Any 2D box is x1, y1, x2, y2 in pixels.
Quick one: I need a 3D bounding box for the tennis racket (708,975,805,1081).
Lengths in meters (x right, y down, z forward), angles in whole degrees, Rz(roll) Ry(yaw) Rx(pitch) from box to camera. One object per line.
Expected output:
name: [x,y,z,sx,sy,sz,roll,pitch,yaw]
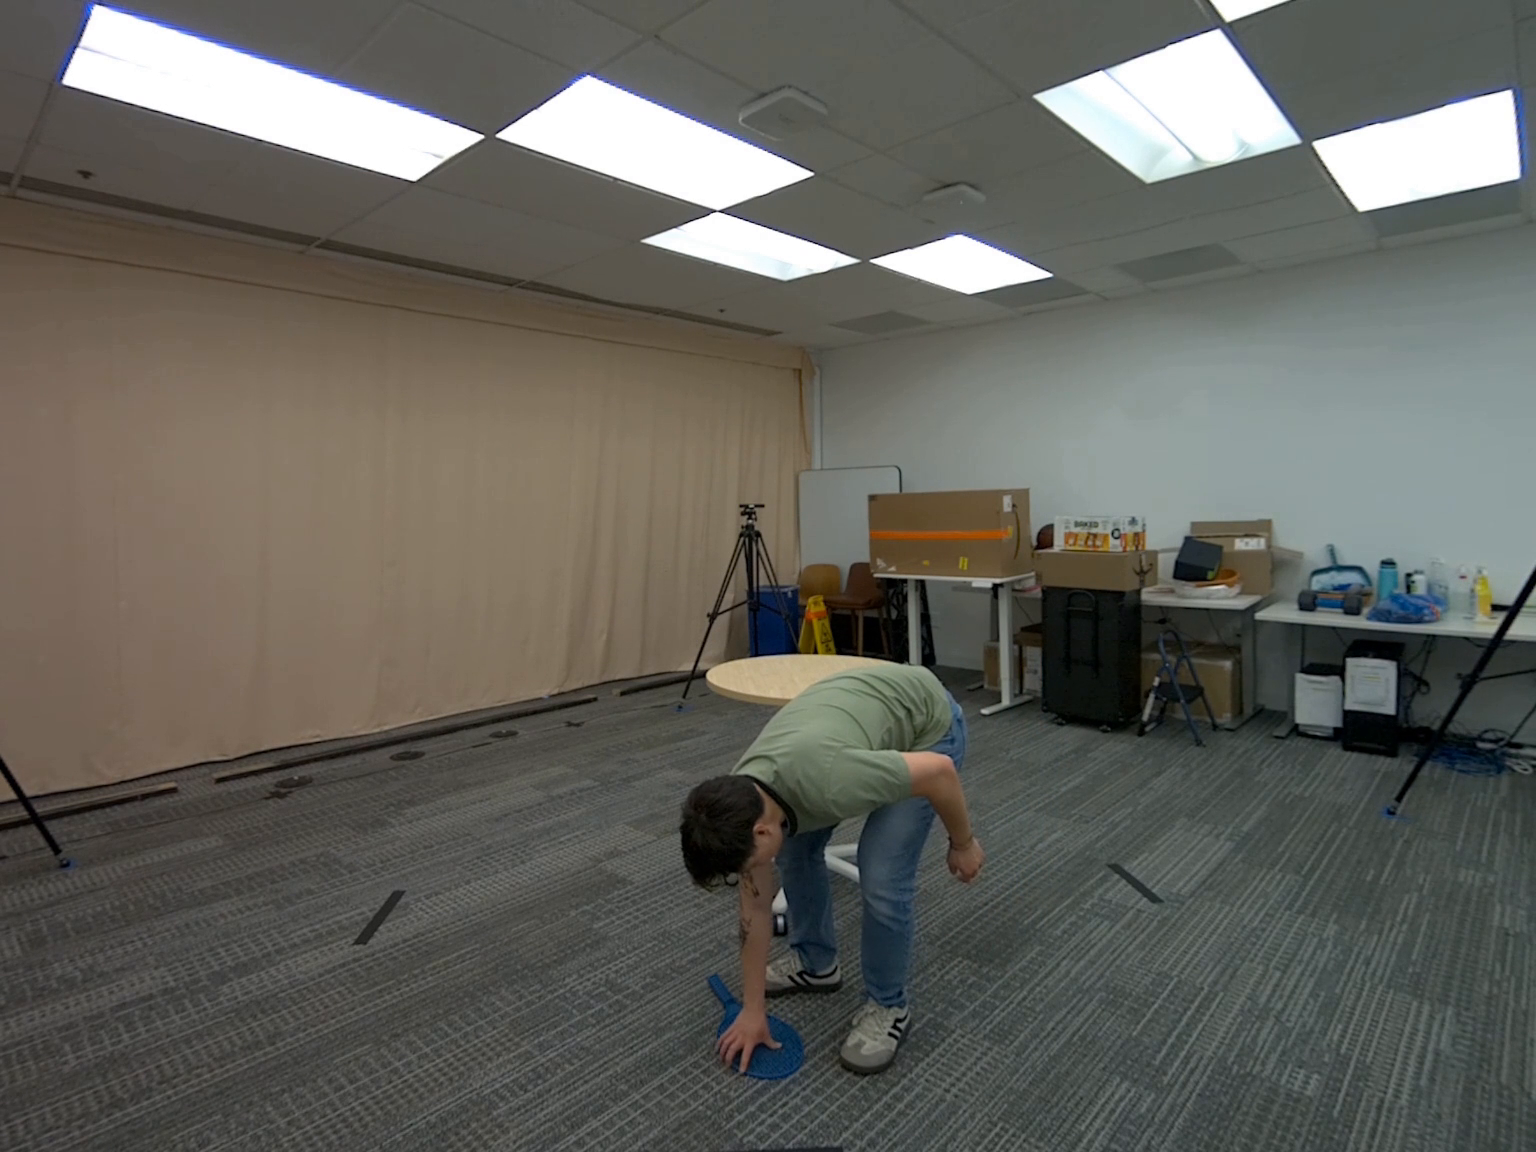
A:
tennis racket: [-0.051,1.194,2.236,0.208,0.031,0.445,-2,8,-27]
